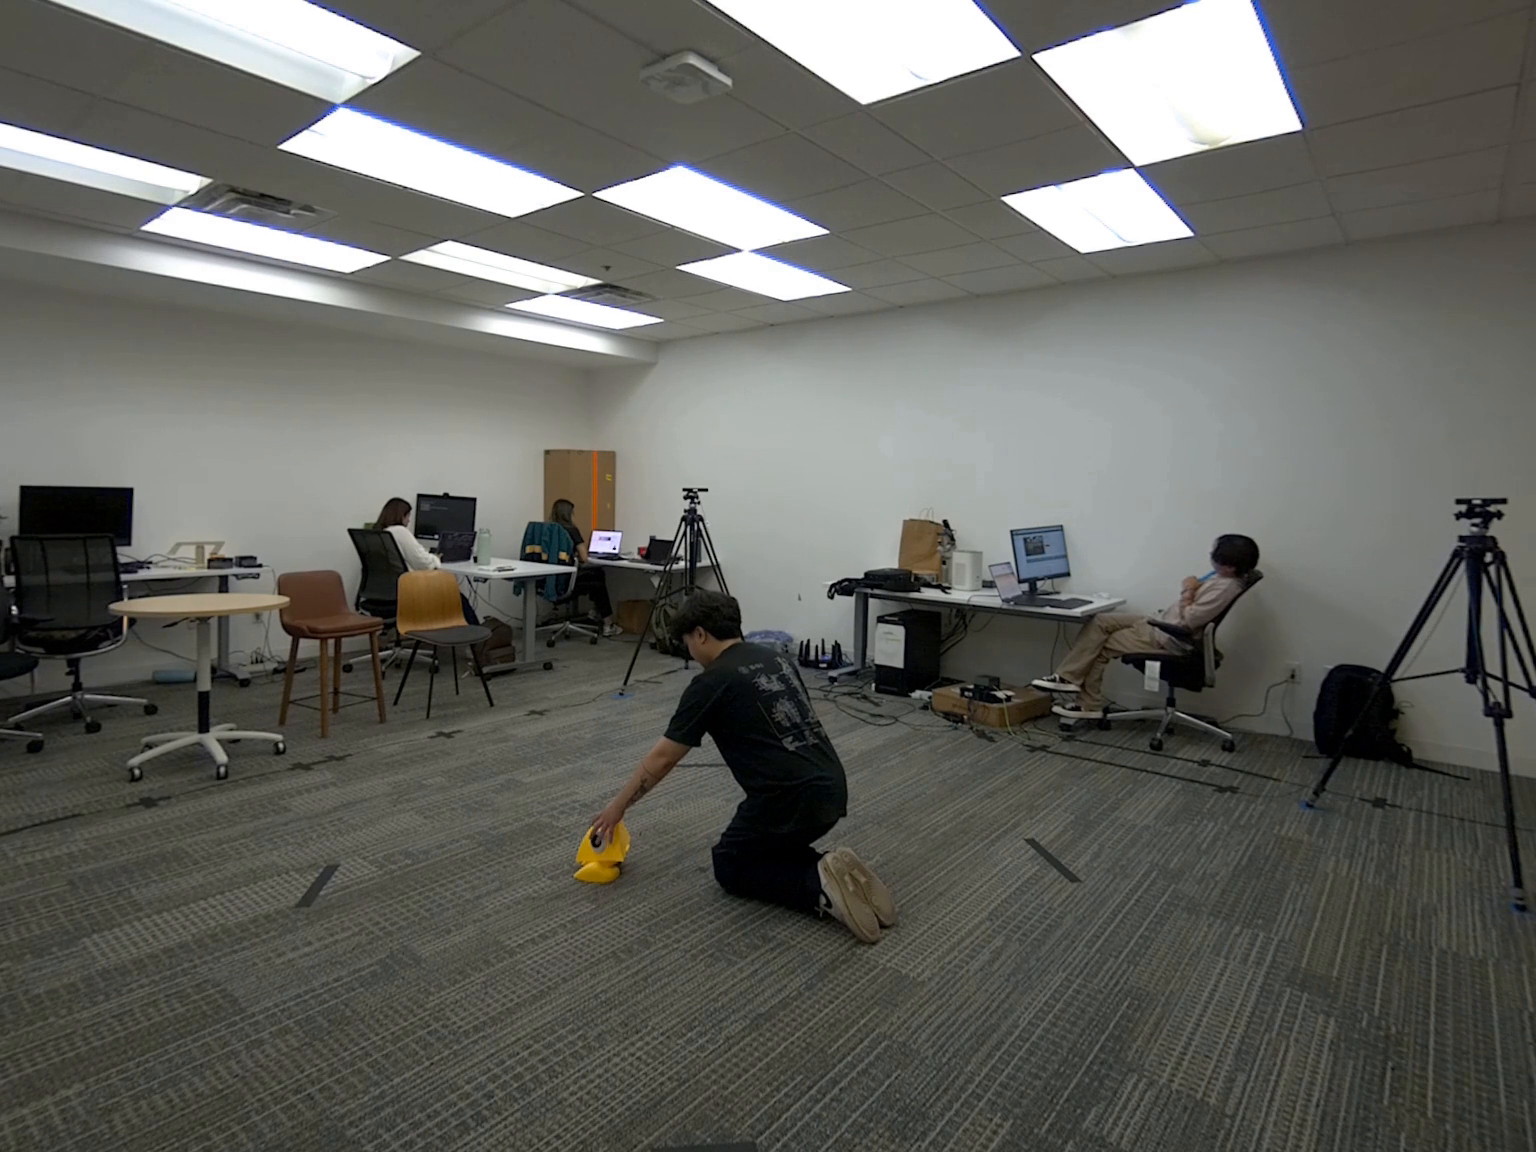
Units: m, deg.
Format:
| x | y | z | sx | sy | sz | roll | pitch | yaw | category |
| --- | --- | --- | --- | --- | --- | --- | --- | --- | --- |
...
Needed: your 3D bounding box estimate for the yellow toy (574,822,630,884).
| x | y | z | sx | sy | sz | roll | pitch | yaw | category |
| --- | --- | --- | --- | --- | --- | --- | --- | --- | --- |
| -0.613 | 0.953 | 3.091 | 0.193 | 0.230 | 0.205 | 2 | 4 | -1 | yellow toy |
